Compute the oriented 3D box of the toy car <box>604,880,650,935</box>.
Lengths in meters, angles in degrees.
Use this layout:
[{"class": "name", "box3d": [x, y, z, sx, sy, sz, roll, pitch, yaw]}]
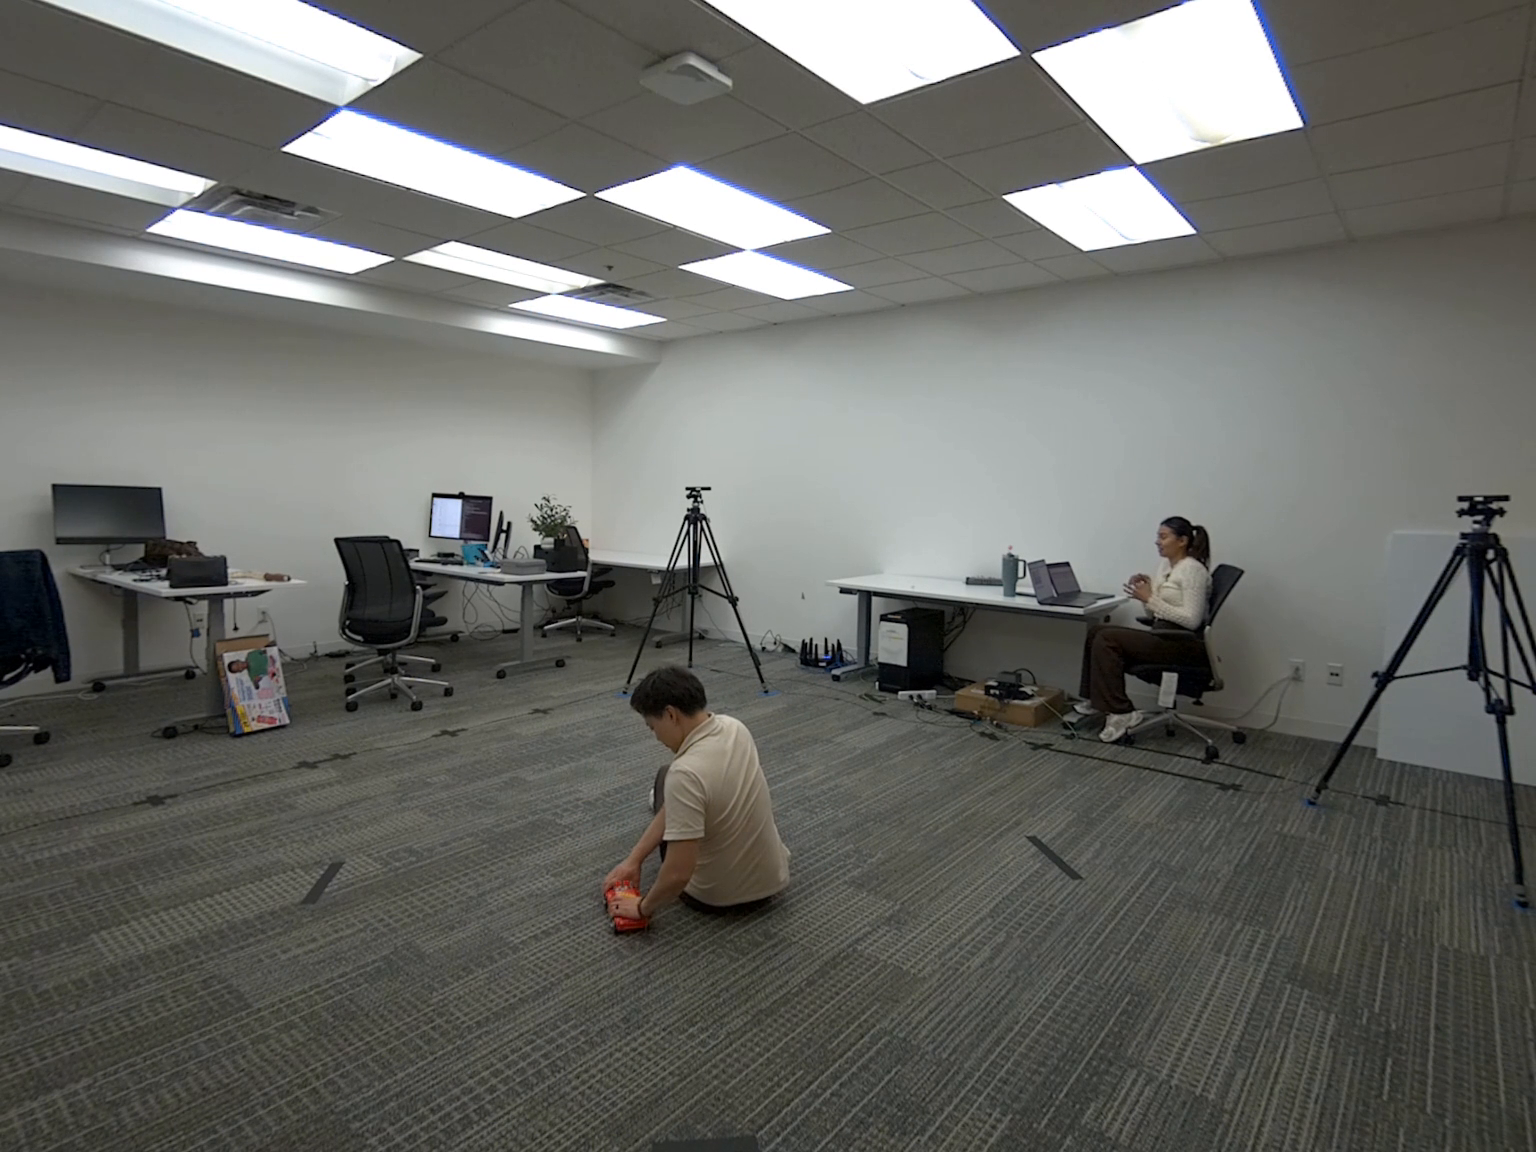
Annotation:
[{"class": "toy car", "box3d": [-0.472, 1.068, 2.752, 0.128, 0.082, 0.262, -2, 15, -18]}]
